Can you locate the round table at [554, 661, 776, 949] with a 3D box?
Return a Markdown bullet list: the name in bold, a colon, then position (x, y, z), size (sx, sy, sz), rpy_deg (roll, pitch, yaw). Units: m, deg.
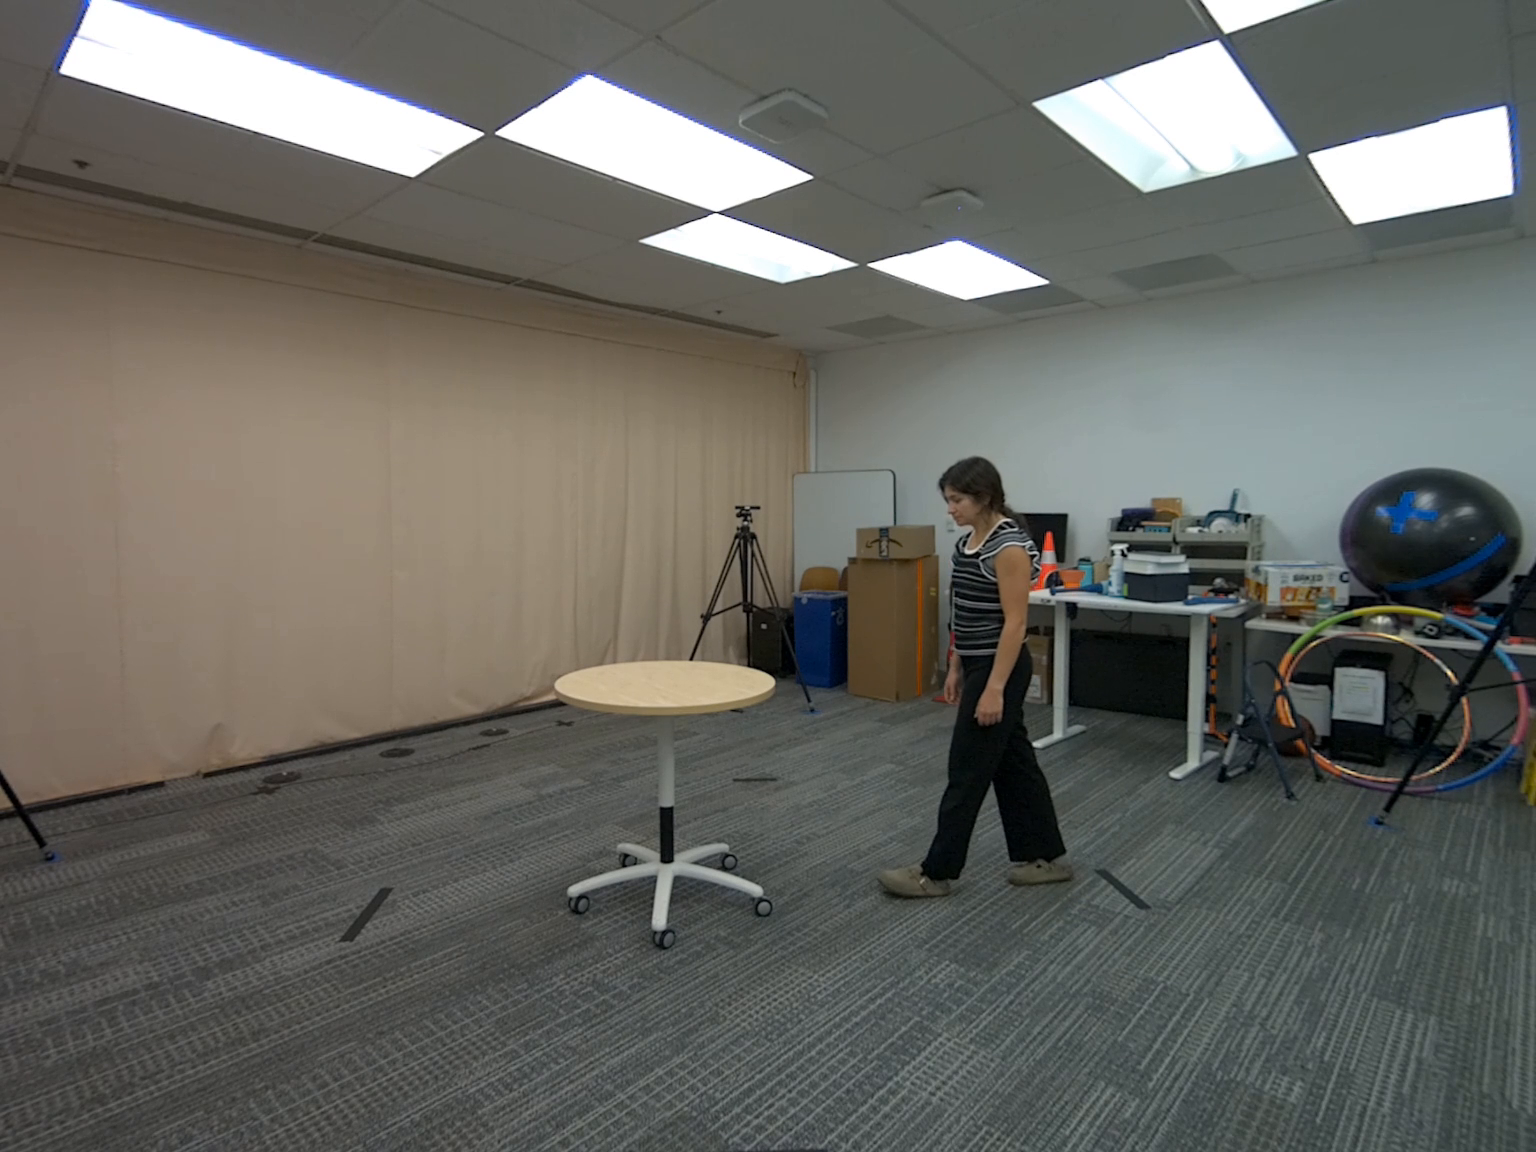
- **round table**: position (-0.355, 0.765, 2.969), size (0.763, 0.792, 0.766), rpy_deg (0, 3, -2)
